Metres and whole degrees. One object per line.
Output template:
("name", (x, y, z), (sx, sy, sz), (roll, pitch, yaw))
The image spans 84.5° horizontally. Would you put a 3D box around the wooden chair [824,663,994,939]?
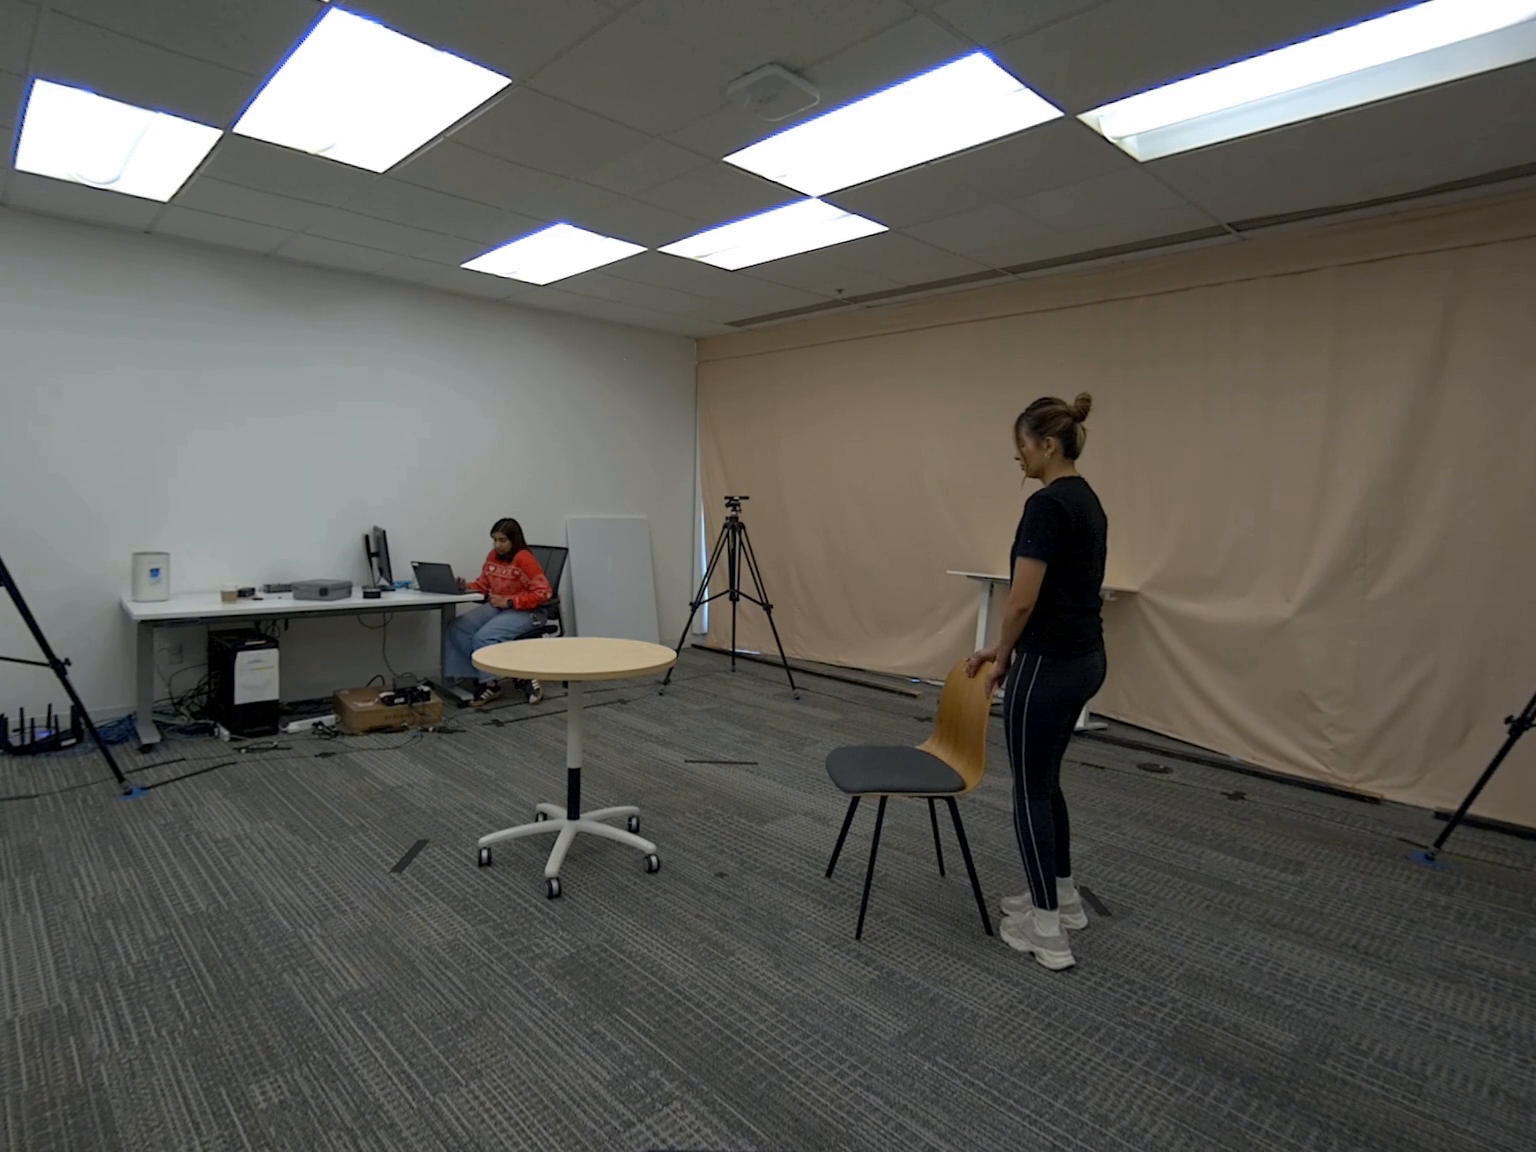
("wooden chair", (0.470, 0.715, 2.880), (0.520, 0.875, 0.482), (5, 3, -8))
